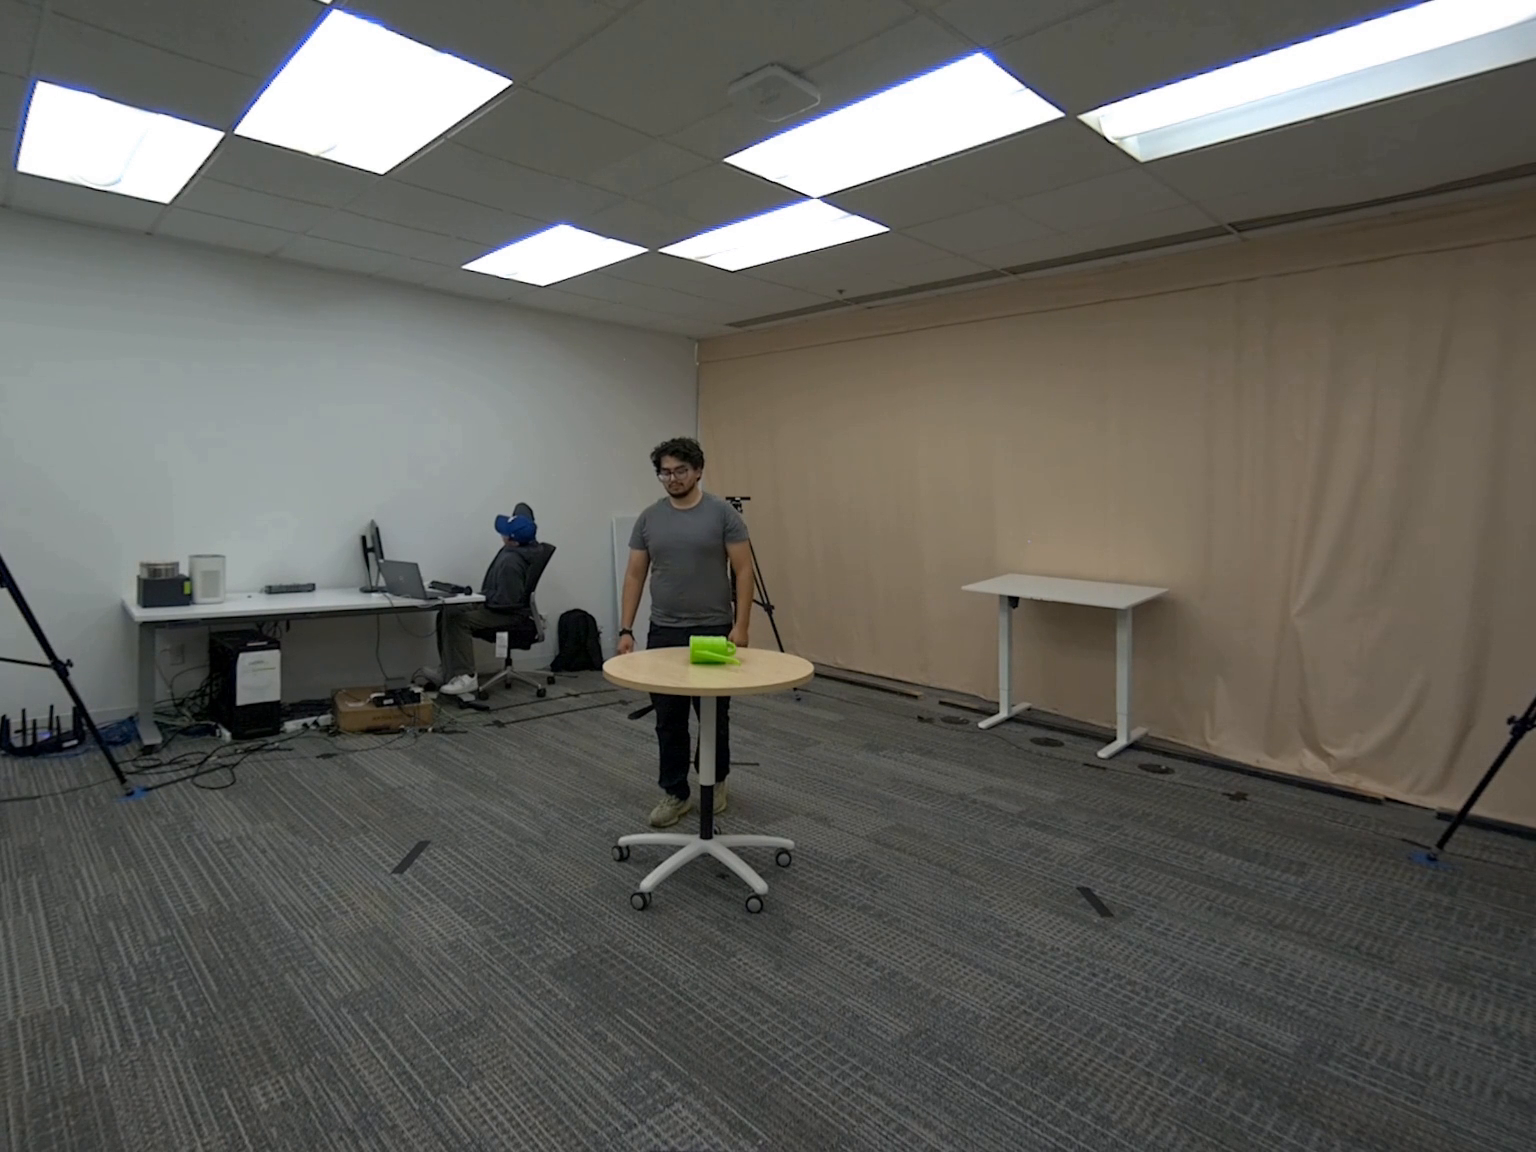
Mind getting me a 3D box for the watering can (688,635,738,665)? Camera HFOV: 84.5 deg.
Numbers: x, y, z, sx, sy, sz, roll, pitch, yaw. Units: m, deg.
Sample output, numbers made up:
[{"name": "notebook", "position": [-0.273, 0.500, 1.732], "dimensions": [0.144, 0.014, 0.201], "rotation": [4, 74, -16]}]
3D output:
[{"name": "watering can", "position": [-0.213, 0.273, 3.074], "dimensions": [0.176, 0.098, 0.278], "rotation": [0, -2, -5]}]
